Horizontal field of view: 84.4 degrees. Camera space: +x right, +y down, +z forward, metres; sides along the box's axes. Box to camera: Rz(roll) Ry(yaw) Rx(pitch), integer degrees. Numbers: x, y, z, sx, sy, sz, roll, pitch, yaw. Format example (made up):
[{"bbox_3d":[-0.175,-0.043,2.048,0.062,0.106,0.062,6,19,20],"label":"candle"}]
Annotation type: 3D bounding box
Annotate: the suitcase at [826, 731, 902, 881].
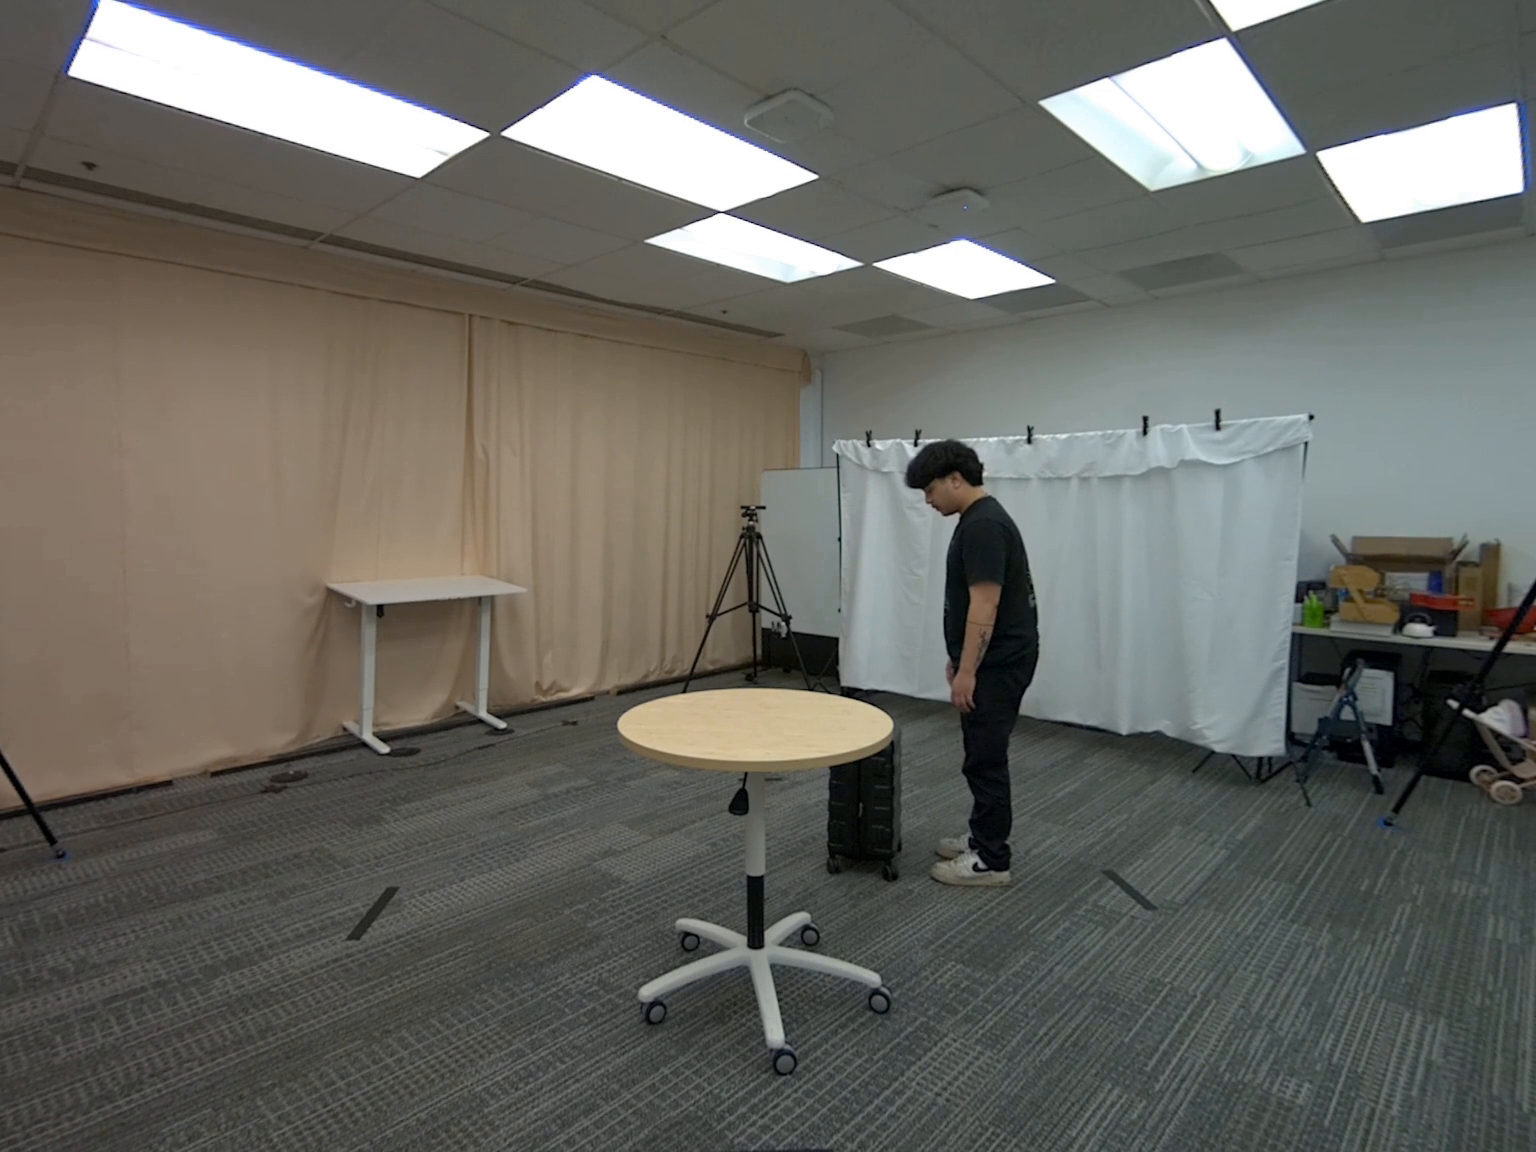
[{"bbox_3d":[0.392,0.844,3.316,0.252,0.549,0.369,1,2,15],"label":"suitcase"}]
